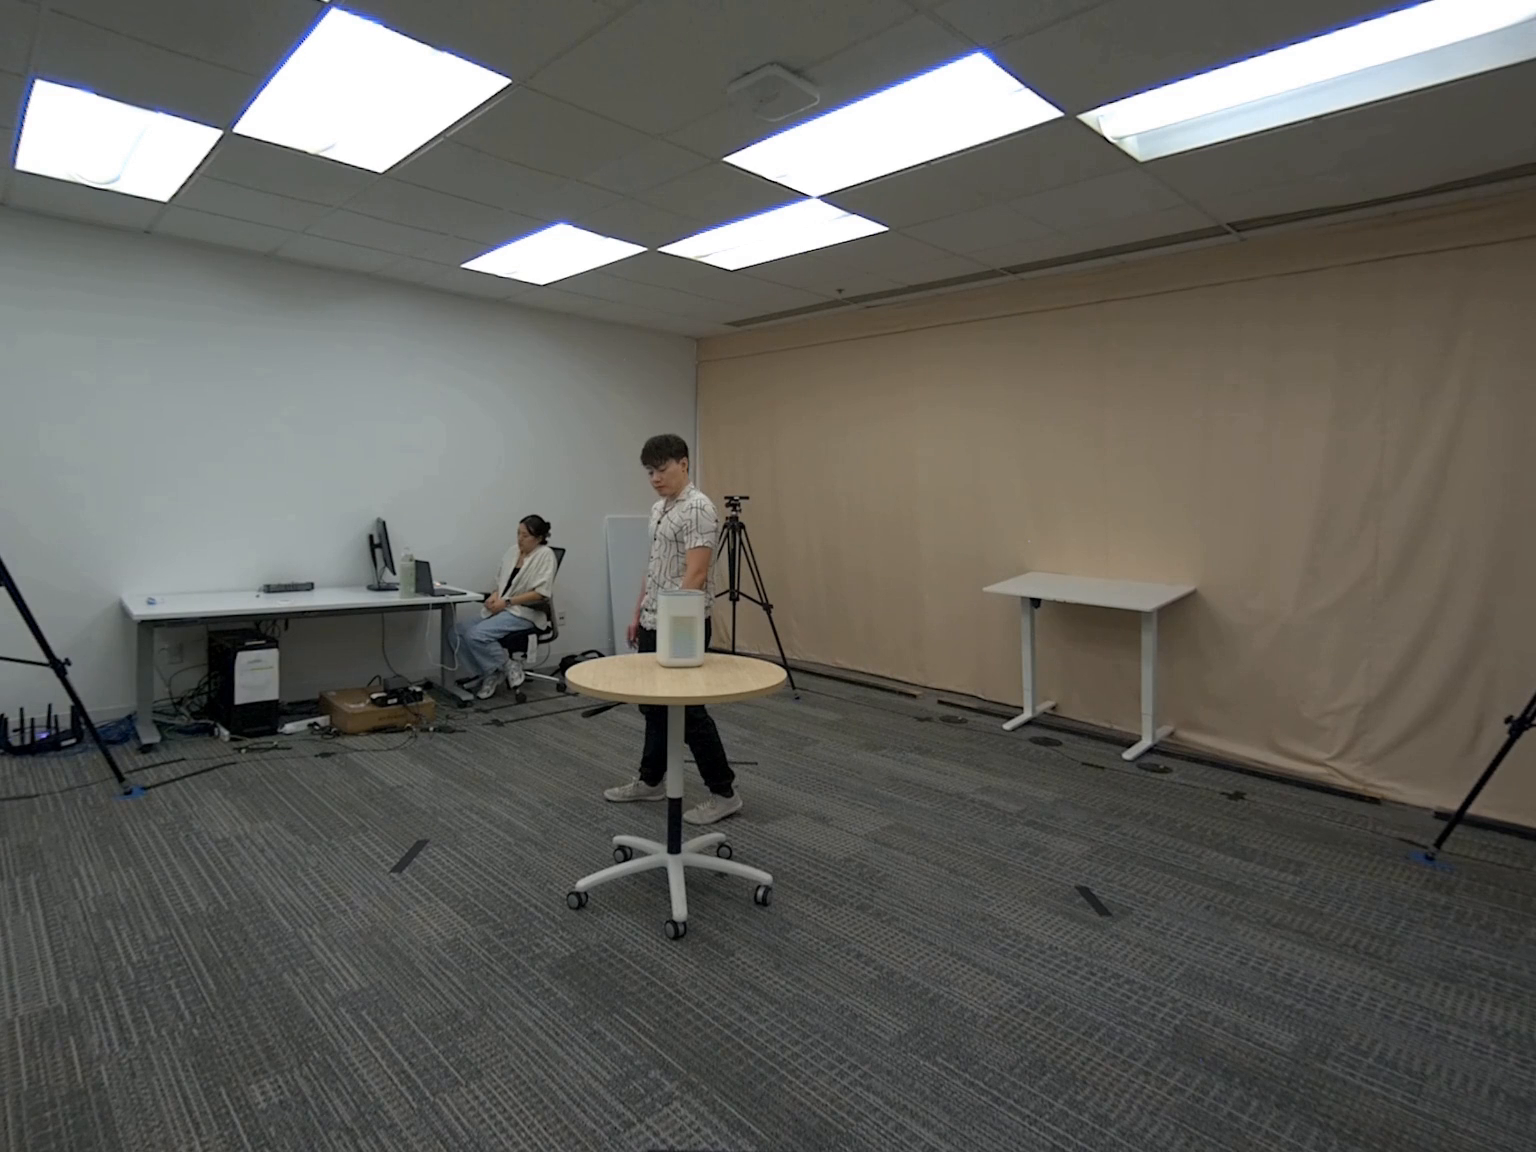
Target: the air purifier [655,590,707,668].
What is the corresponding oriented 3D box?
[{"bbox_3d":[-0.331,0.192,3.065,0.170,0.265,0.173,0,2,-11],"label":"air purifier"}]
